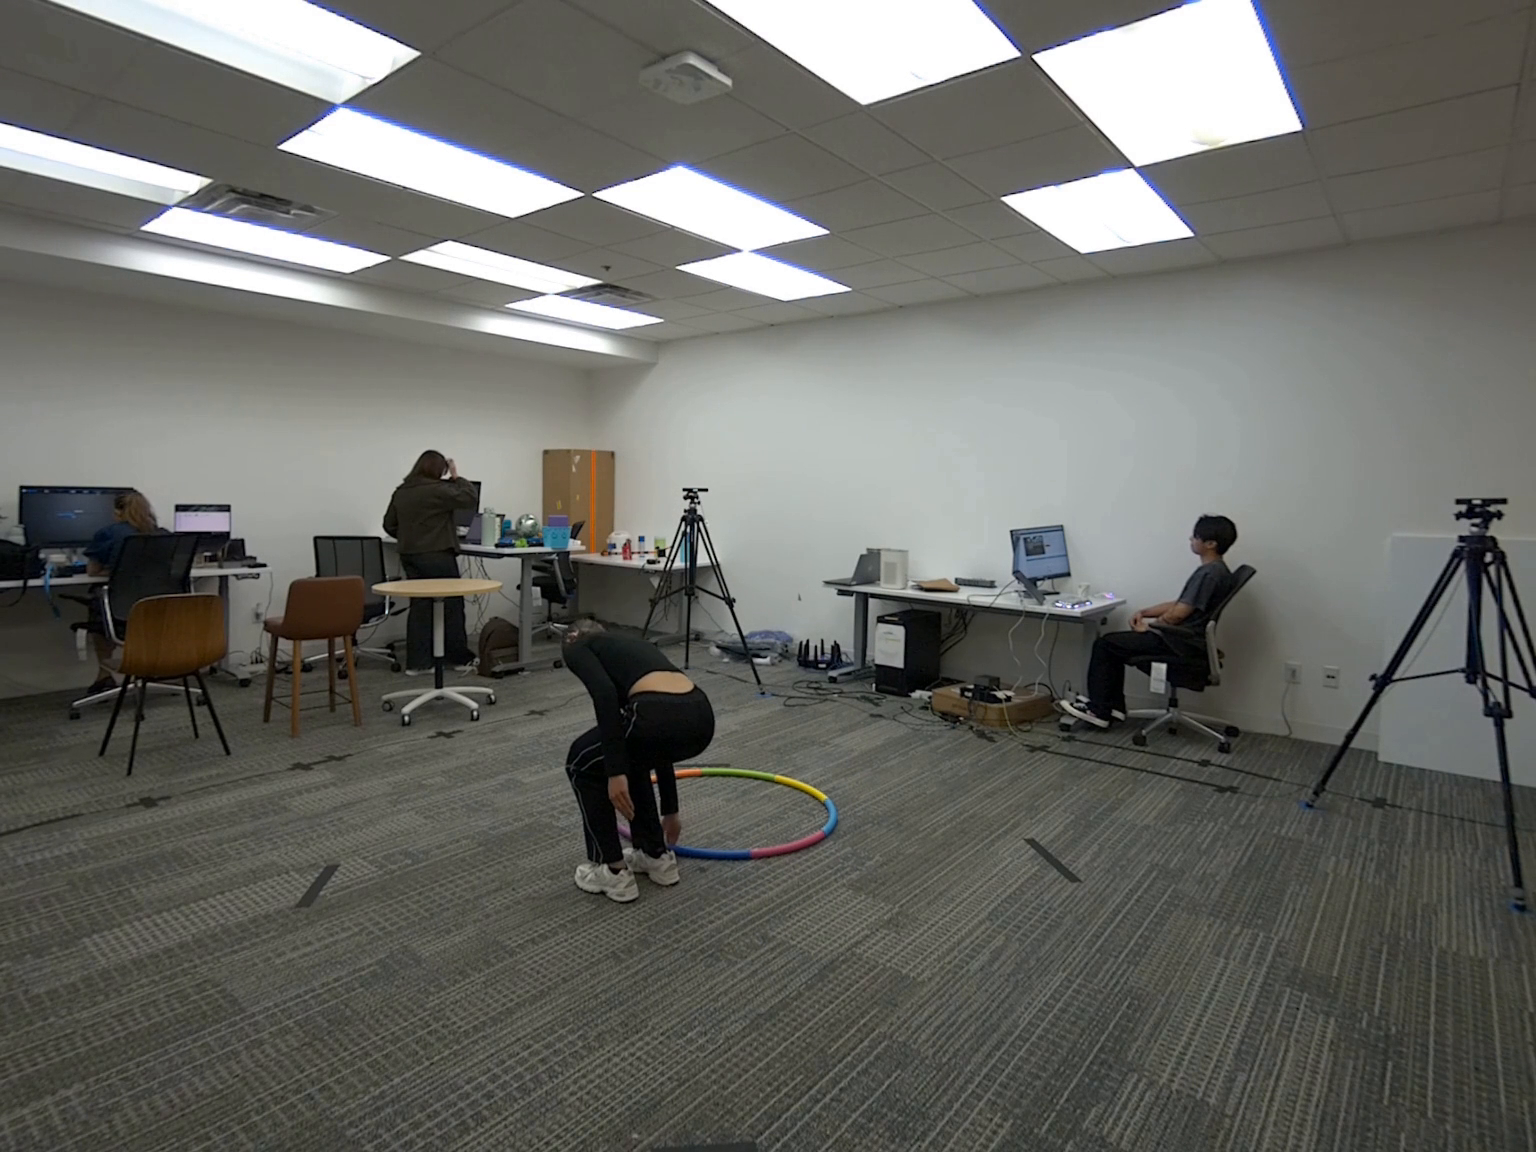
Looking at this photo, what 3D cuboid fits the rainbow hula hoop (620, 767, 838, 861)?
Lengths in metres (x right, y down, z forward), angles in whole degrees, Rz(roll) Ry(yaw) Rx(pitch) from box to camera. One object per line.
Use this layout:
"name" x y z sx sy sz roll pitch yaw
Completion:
"rainbow hula hoop" -0.206 0.983 3.666 0.978 0.035 0.984 1 6 -2
